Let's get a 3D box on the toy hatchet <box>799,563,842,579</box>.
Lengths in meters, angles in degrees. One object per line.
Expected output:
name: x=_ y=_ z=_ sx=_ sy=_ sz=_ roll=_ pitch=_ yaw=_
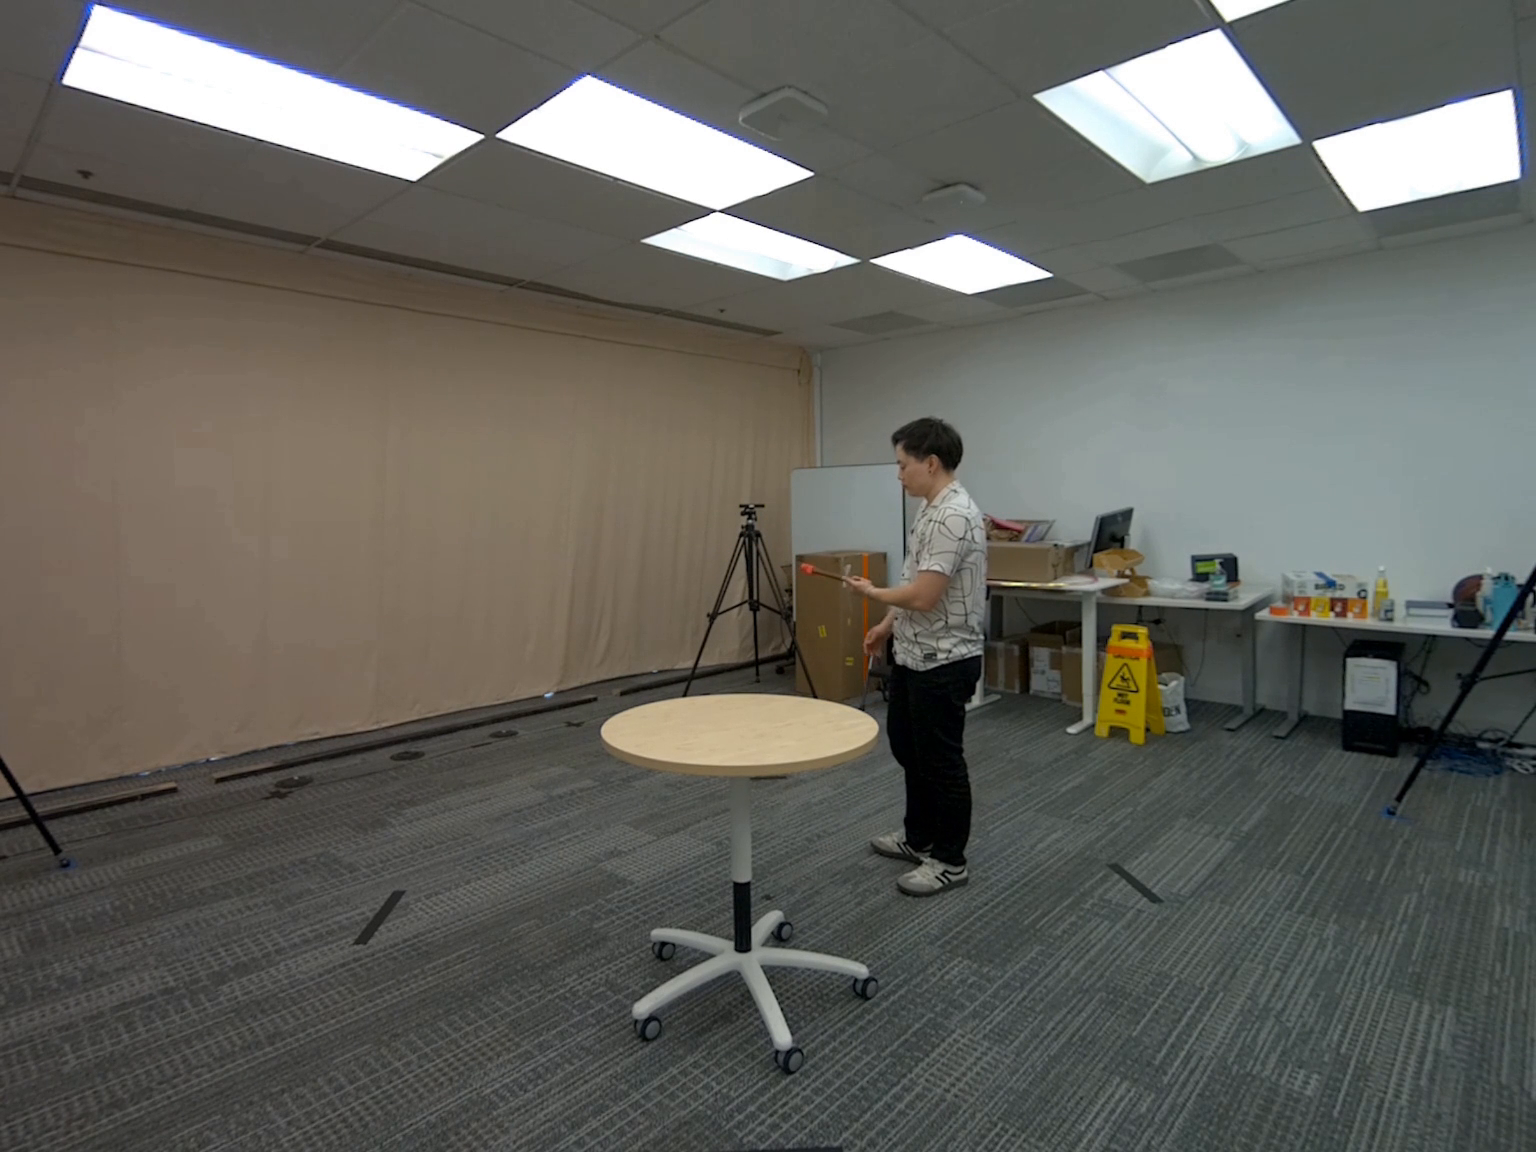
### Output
toy hatchet: x=0.270 y=0.011 z=3.070 sx=0.271 sy=0.029 sz=0.130 roll=18 pitch=-8 yaw=4
